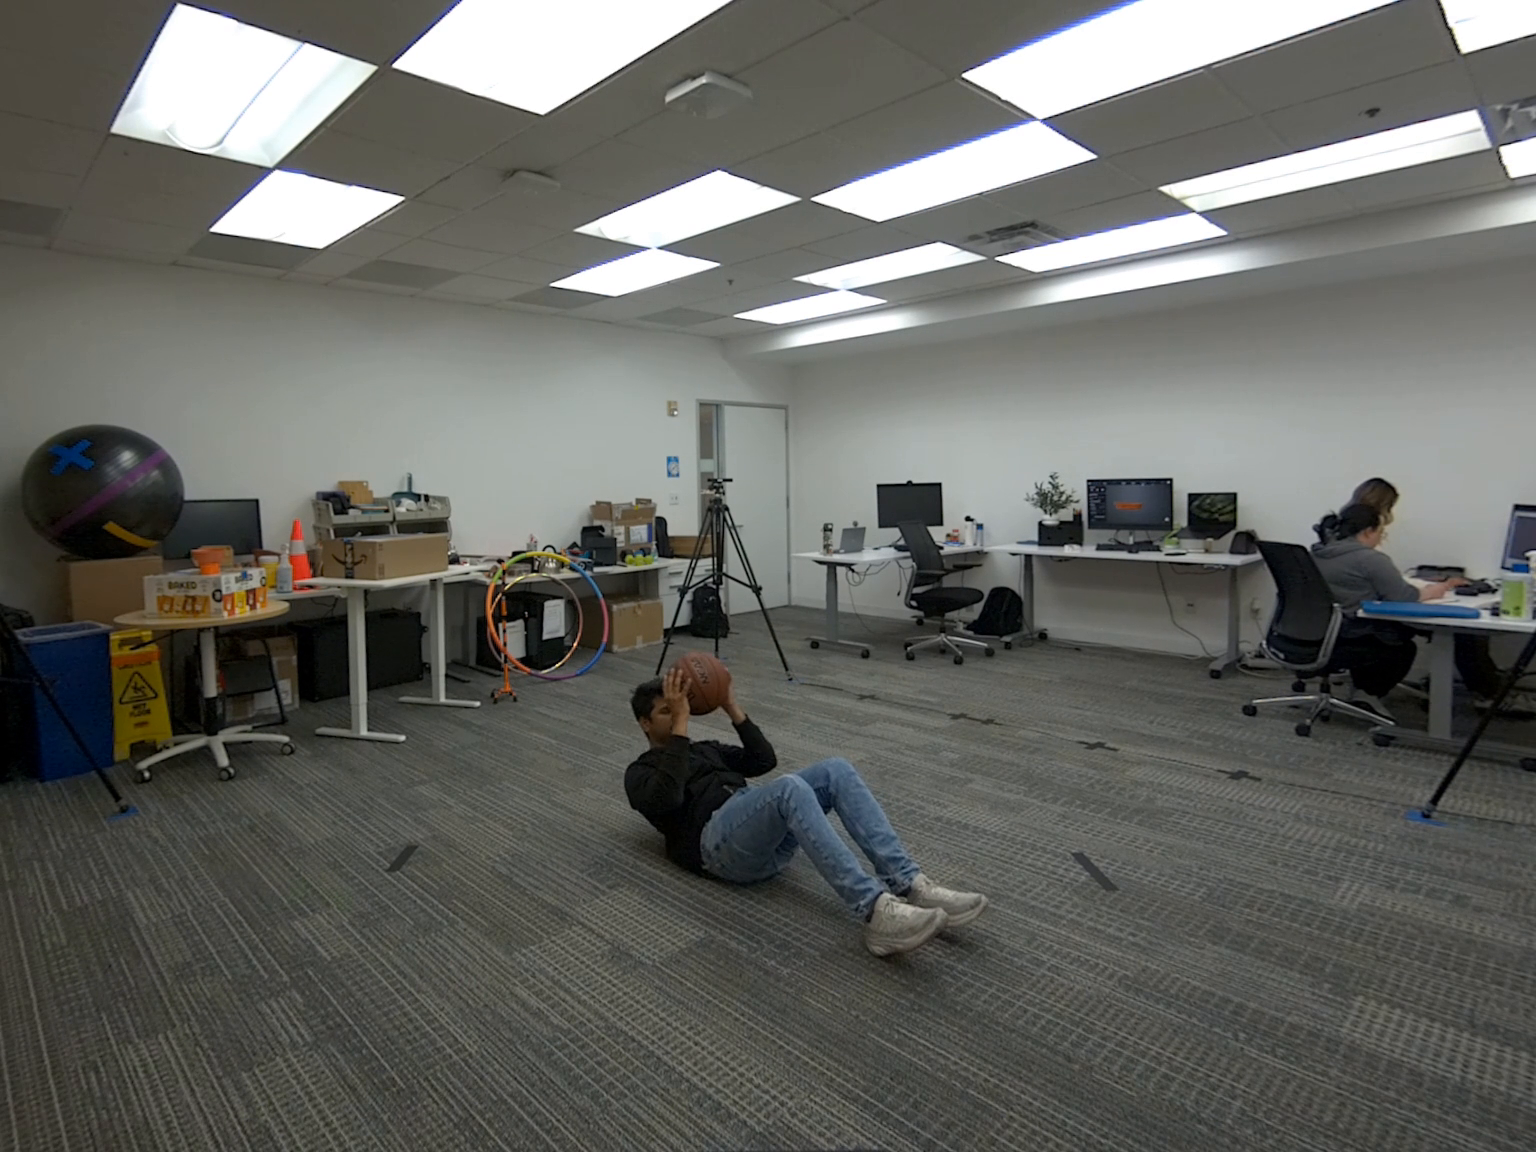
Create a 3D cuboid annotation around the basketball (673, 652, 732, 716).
[{"bbox_3d":[-0.268,0.408,3.224,0.236,0.235,0.237,-1,5,-2],"label":"basketball"}]
